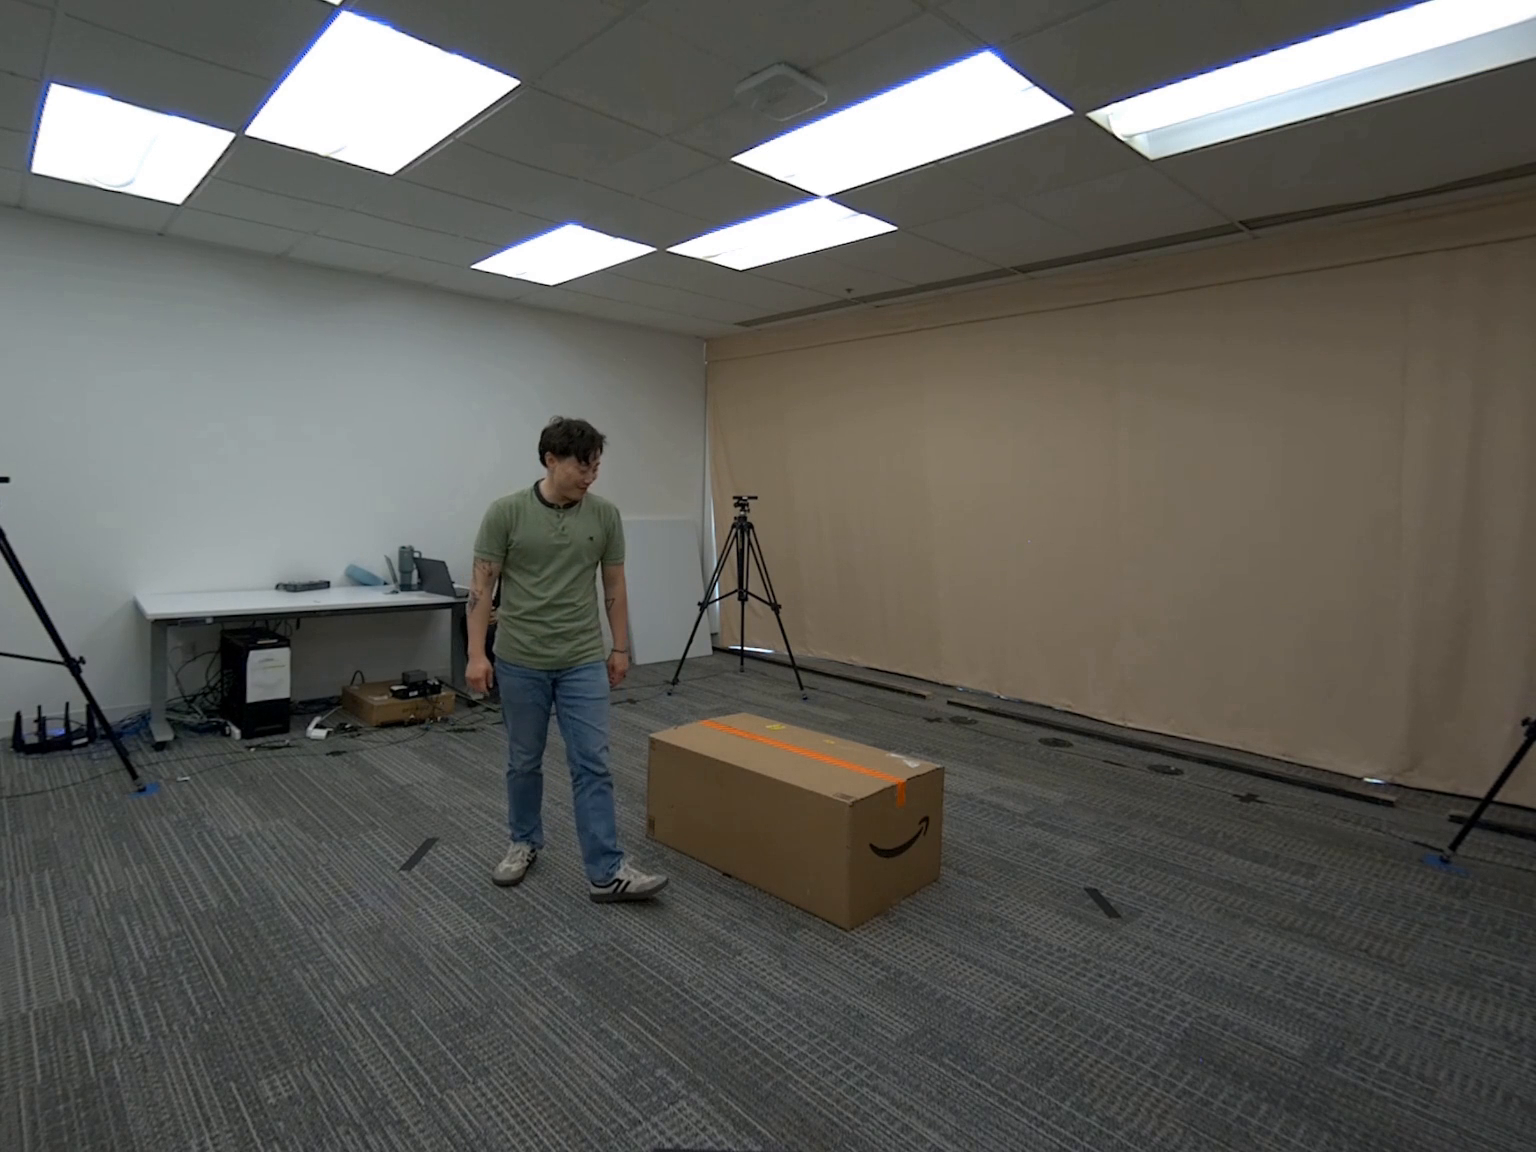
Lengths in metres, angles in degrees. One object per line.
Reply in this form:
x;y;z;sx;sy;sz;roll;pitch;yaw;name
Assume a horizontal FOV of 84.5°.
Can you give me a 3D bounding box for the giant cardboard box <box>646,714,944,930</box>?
0.071;0.880;3.260;1.052;0.425;0.564;6;5;43;giant cardboard box
